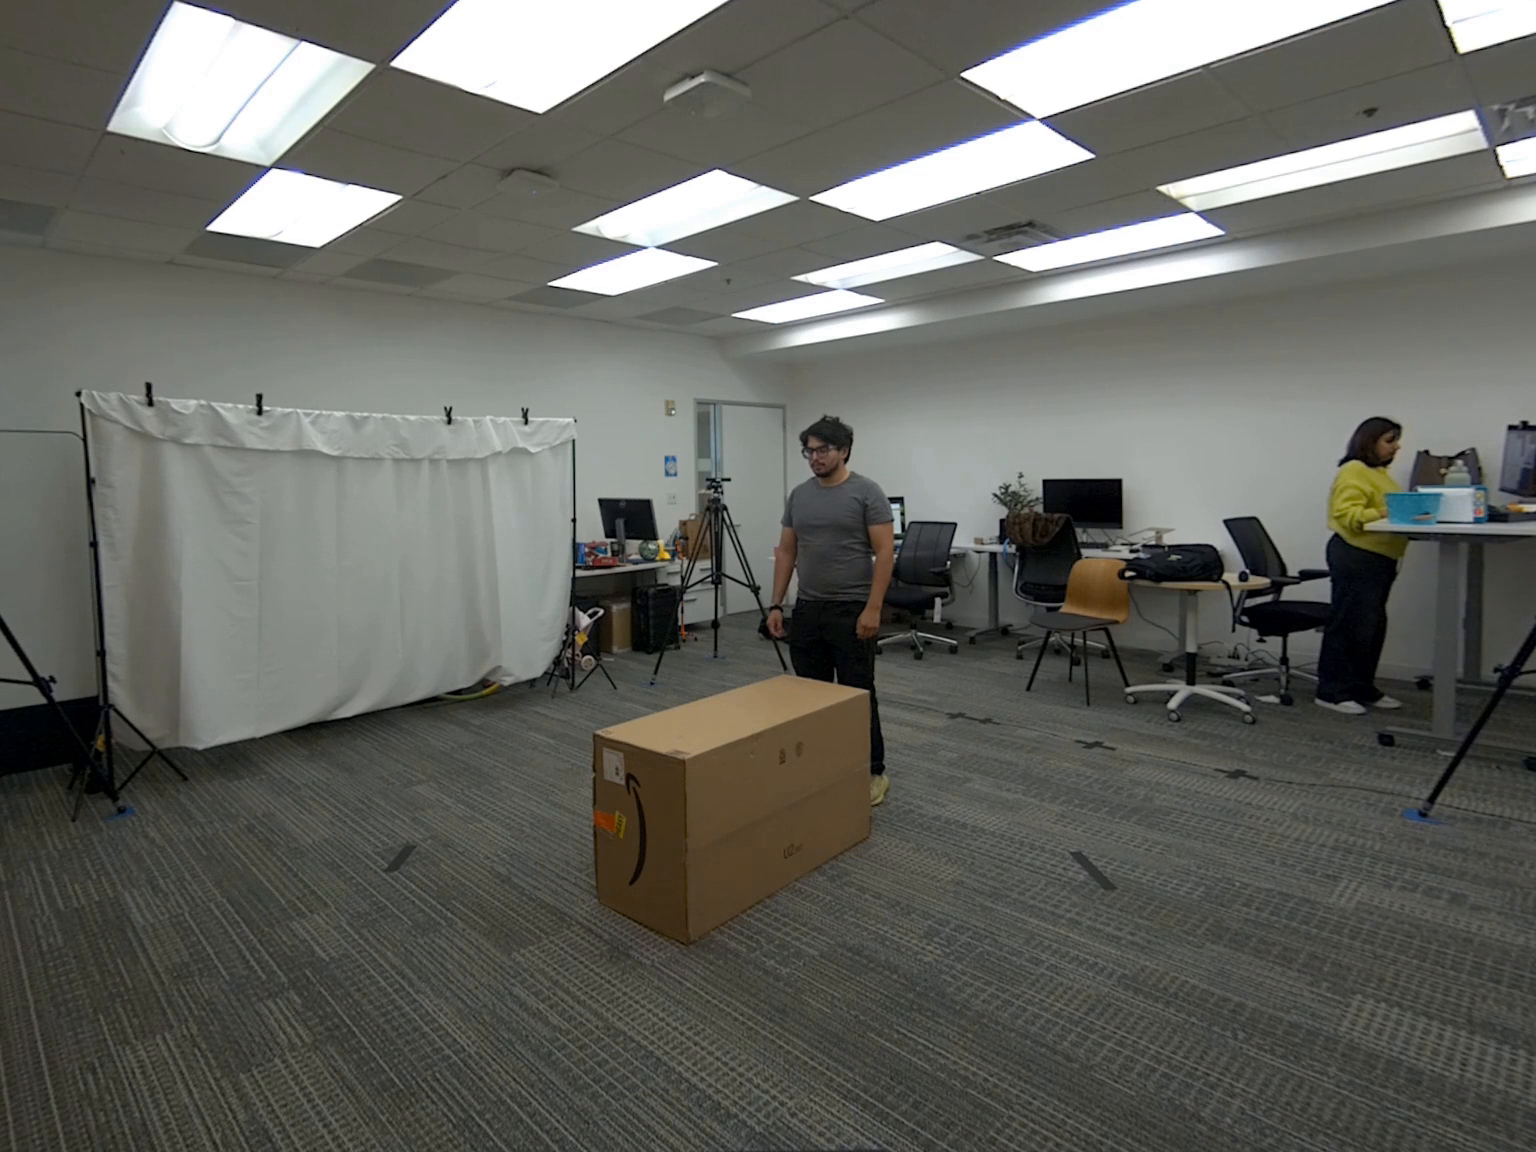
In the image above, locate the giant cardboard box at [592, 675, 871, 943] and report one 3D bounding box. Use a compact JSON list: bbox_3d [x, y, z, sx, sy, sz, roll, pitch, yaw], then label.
[{"bbox_3d":[-0.095,0.757,3.060,0.439,0.575,1.000,2,7,40],"label":"giant cardboard box"}]
